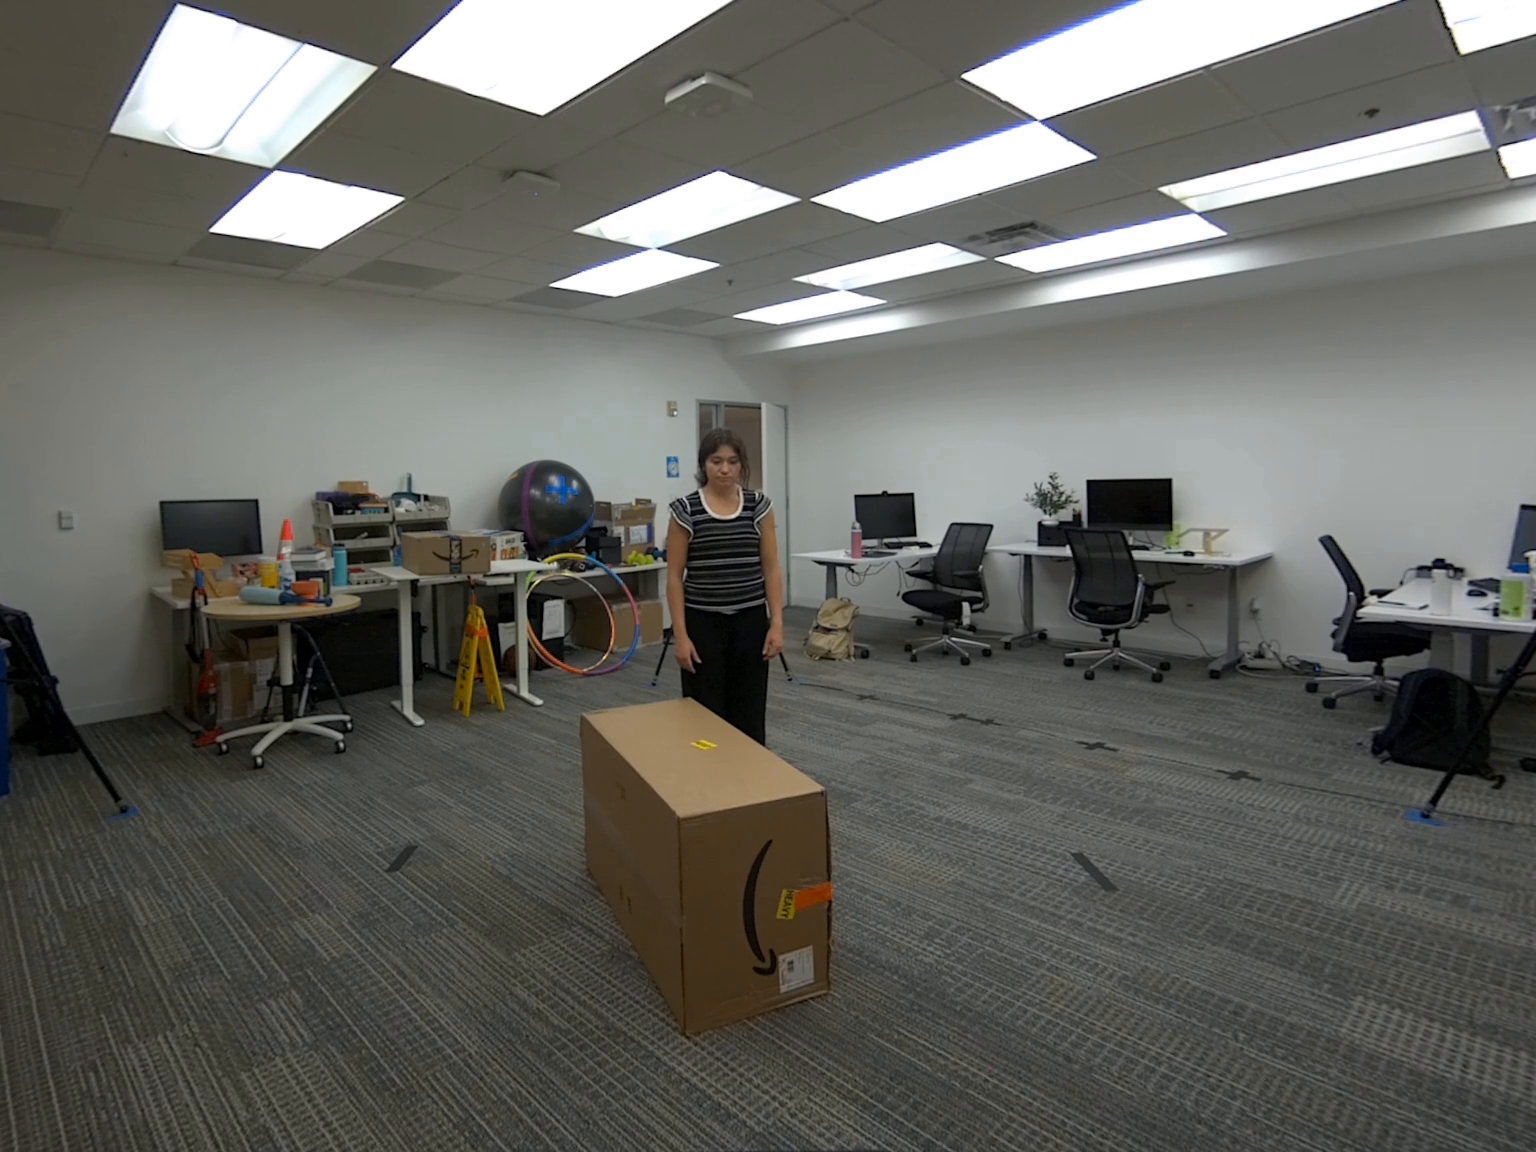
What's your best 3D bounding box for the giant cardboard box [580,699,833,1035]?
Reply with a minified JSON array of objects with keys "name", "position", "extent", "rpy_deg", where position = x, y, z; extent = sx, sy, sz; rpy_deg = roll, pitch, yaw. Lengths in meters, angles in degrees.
[{"name":"giant cardboard box","position":[-0.248,0.808,2.678],"extent":[0.418,0.575,1.052],"rpy_deg":[-3,7,-25]}]
